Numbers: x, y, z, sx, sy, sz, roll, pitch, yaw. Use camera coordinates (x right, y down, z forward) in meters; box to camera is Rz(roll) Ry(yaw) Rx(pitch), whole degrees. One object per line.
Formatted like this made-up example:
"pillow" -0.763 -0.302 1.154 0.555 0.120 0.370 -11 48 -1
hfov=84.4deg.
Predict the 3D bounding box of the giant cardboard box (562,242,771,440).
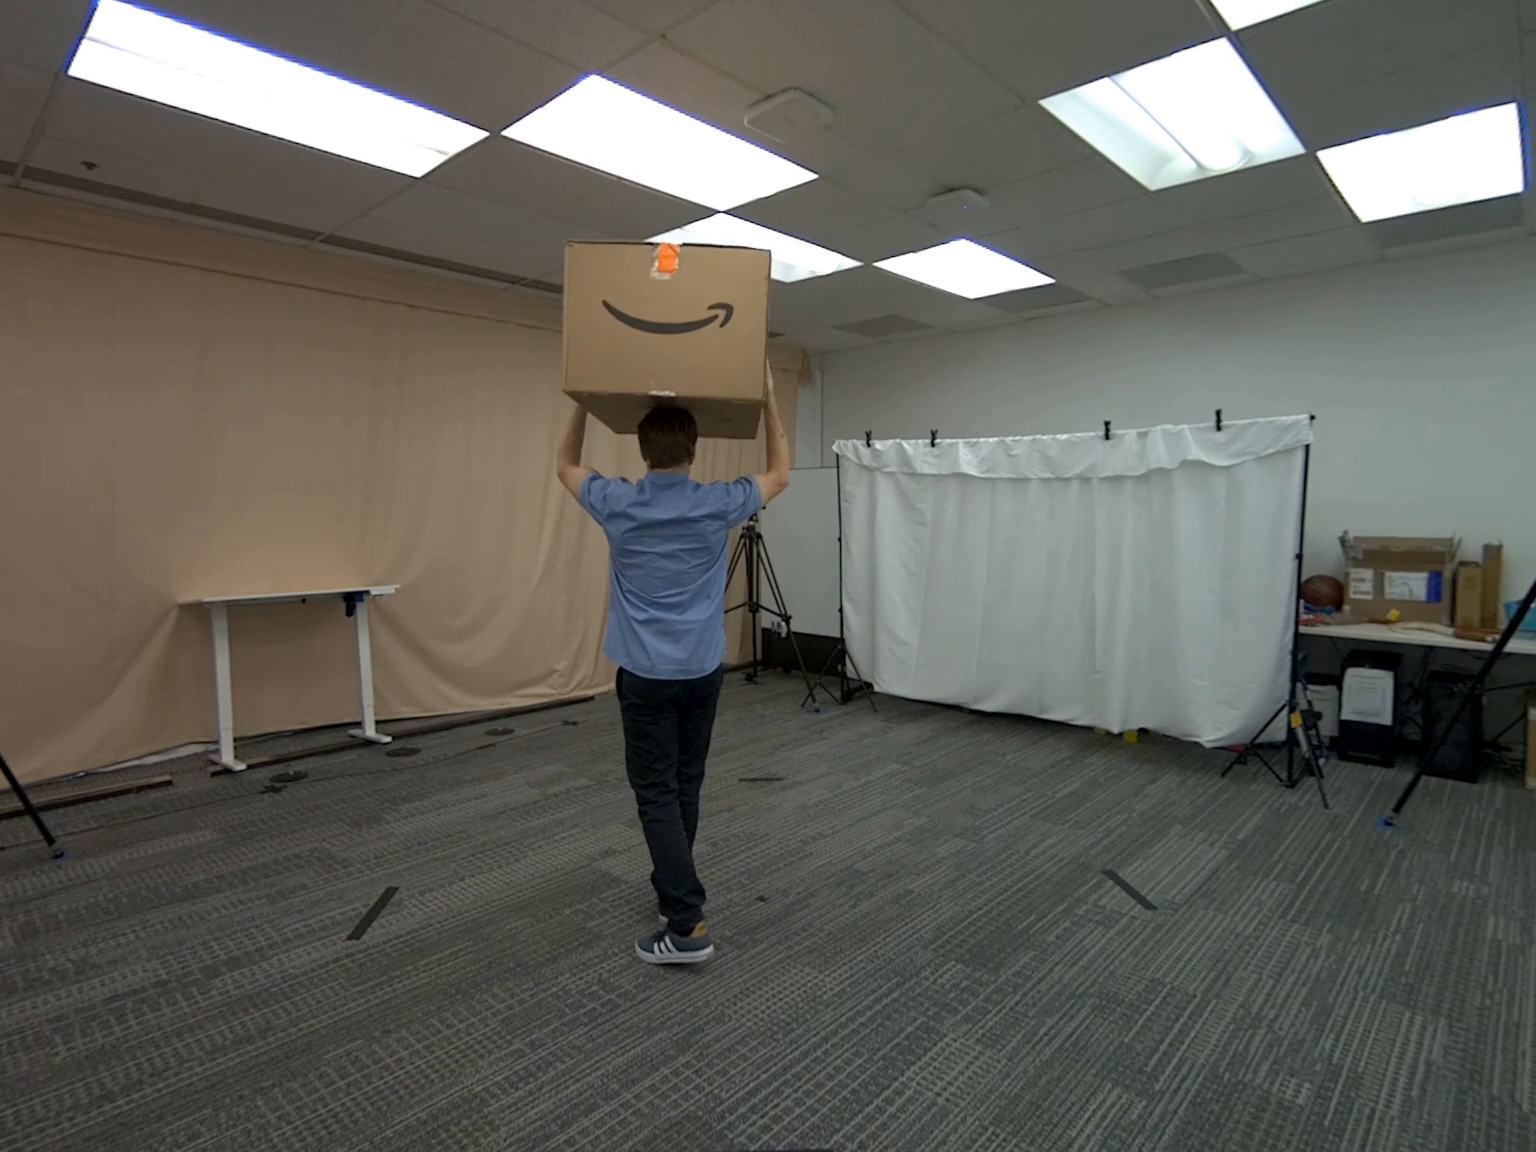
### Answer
"giant cardboard box" -0.300 -0.740 2.844 0.578 0.426 1.027 3 2 -1
